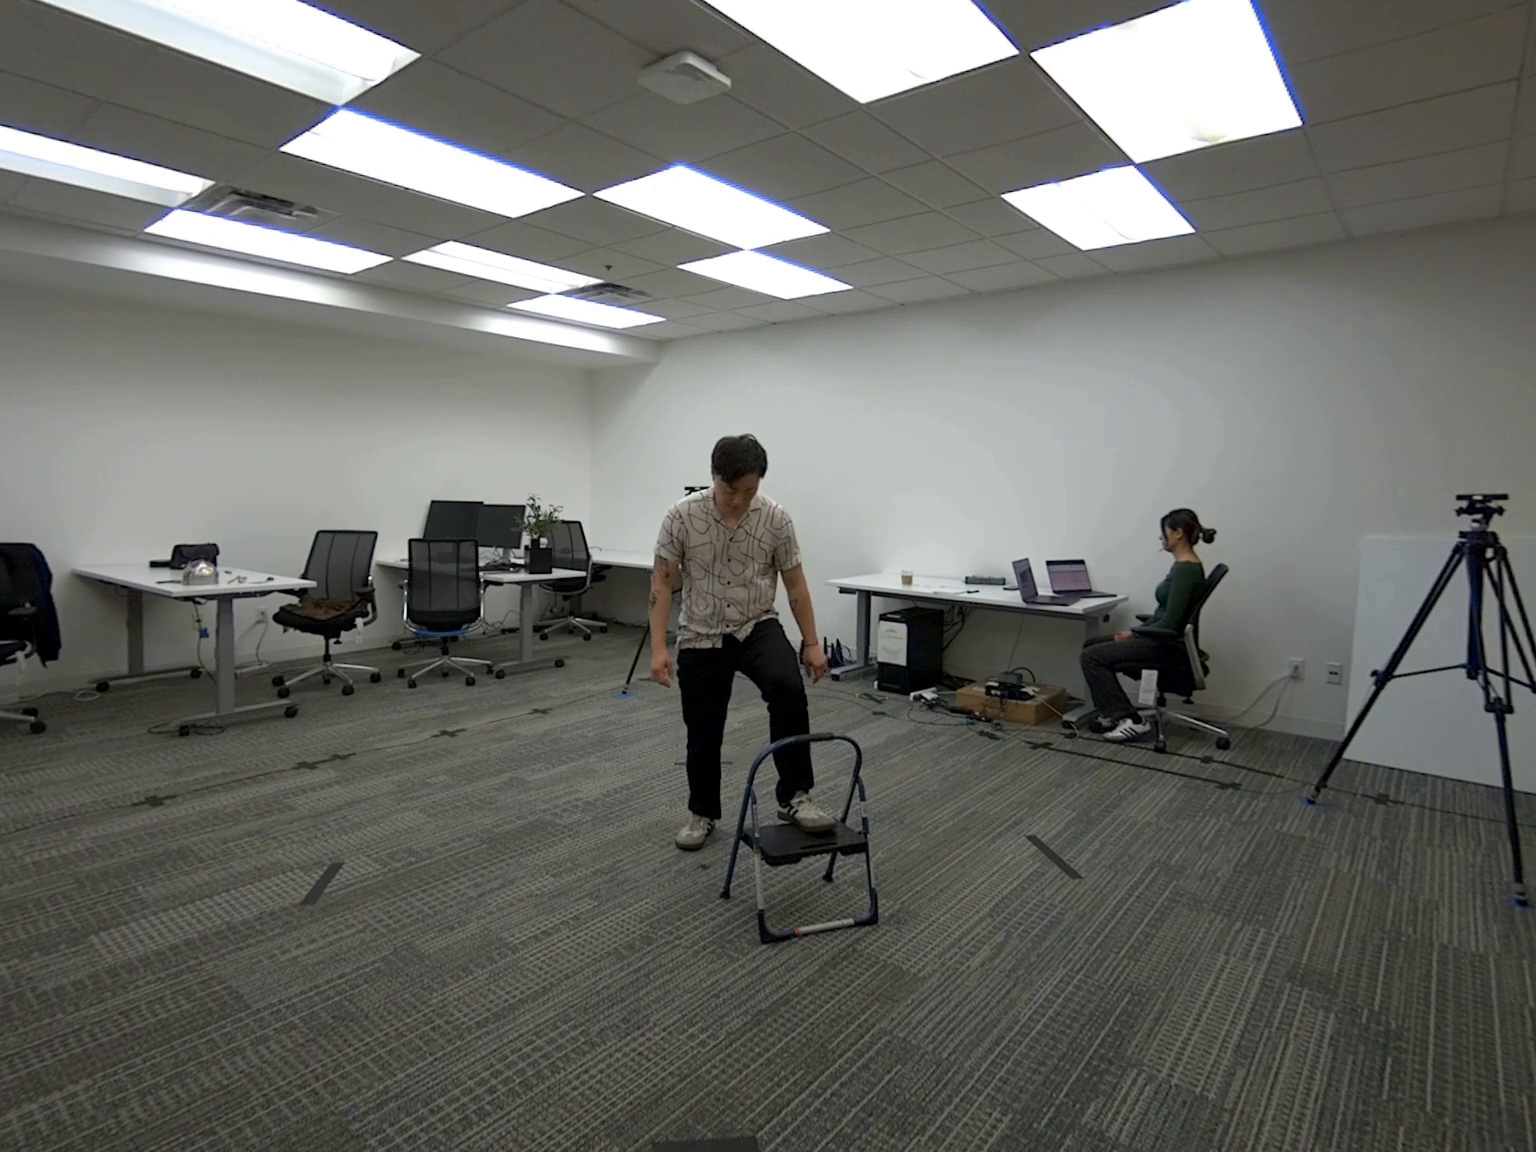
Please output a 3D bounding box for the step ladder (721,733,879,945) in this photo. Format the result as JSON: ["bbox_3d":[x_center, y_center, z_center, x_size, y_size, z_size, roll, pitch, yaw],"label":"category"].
[{"bbox_3d":[0.099,0.796,2.803,0.421,0.604,0.358,-1,4,-24],"label":"step ladder"}]
